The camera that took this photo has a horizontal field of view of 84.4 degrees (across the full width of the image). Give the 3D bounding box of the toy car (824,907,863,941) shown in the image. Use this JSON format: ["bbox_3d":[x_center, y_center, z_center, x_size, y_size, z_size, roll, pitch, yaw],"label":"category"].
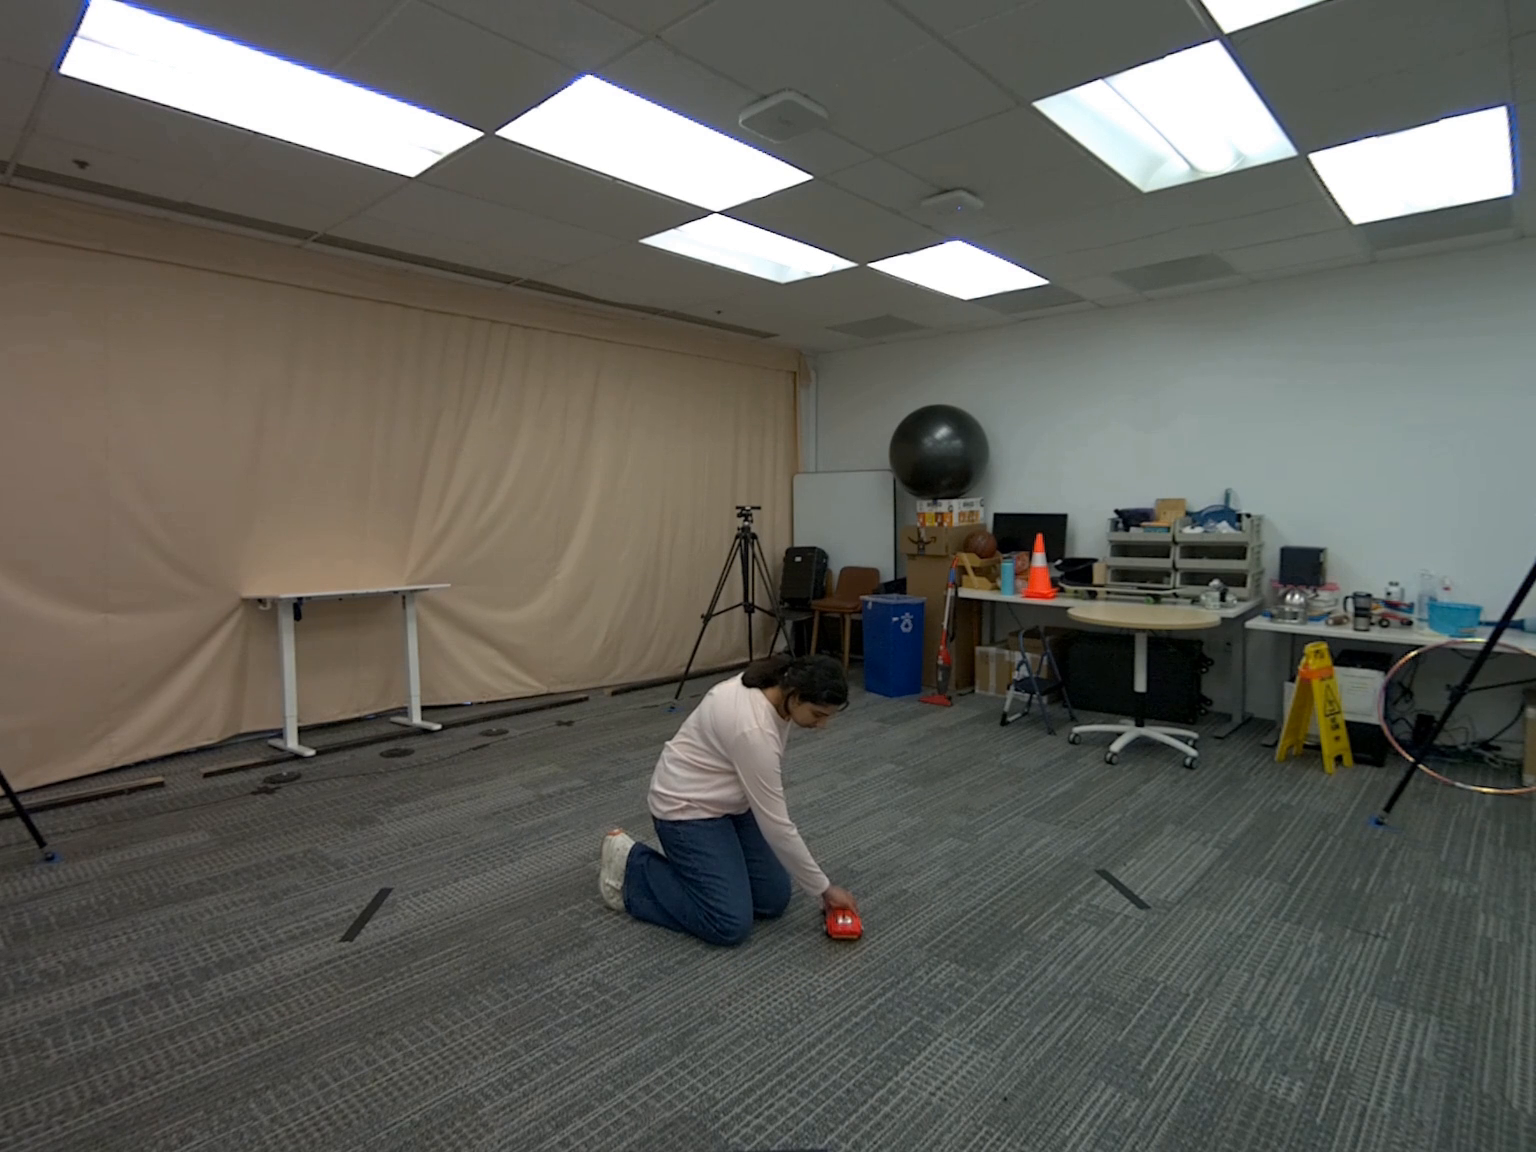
[{"bbox_3d":[0.246,1.134,2.758,0.130,0.083,0.253,0,-7,-1],"label":"toy car"}]
